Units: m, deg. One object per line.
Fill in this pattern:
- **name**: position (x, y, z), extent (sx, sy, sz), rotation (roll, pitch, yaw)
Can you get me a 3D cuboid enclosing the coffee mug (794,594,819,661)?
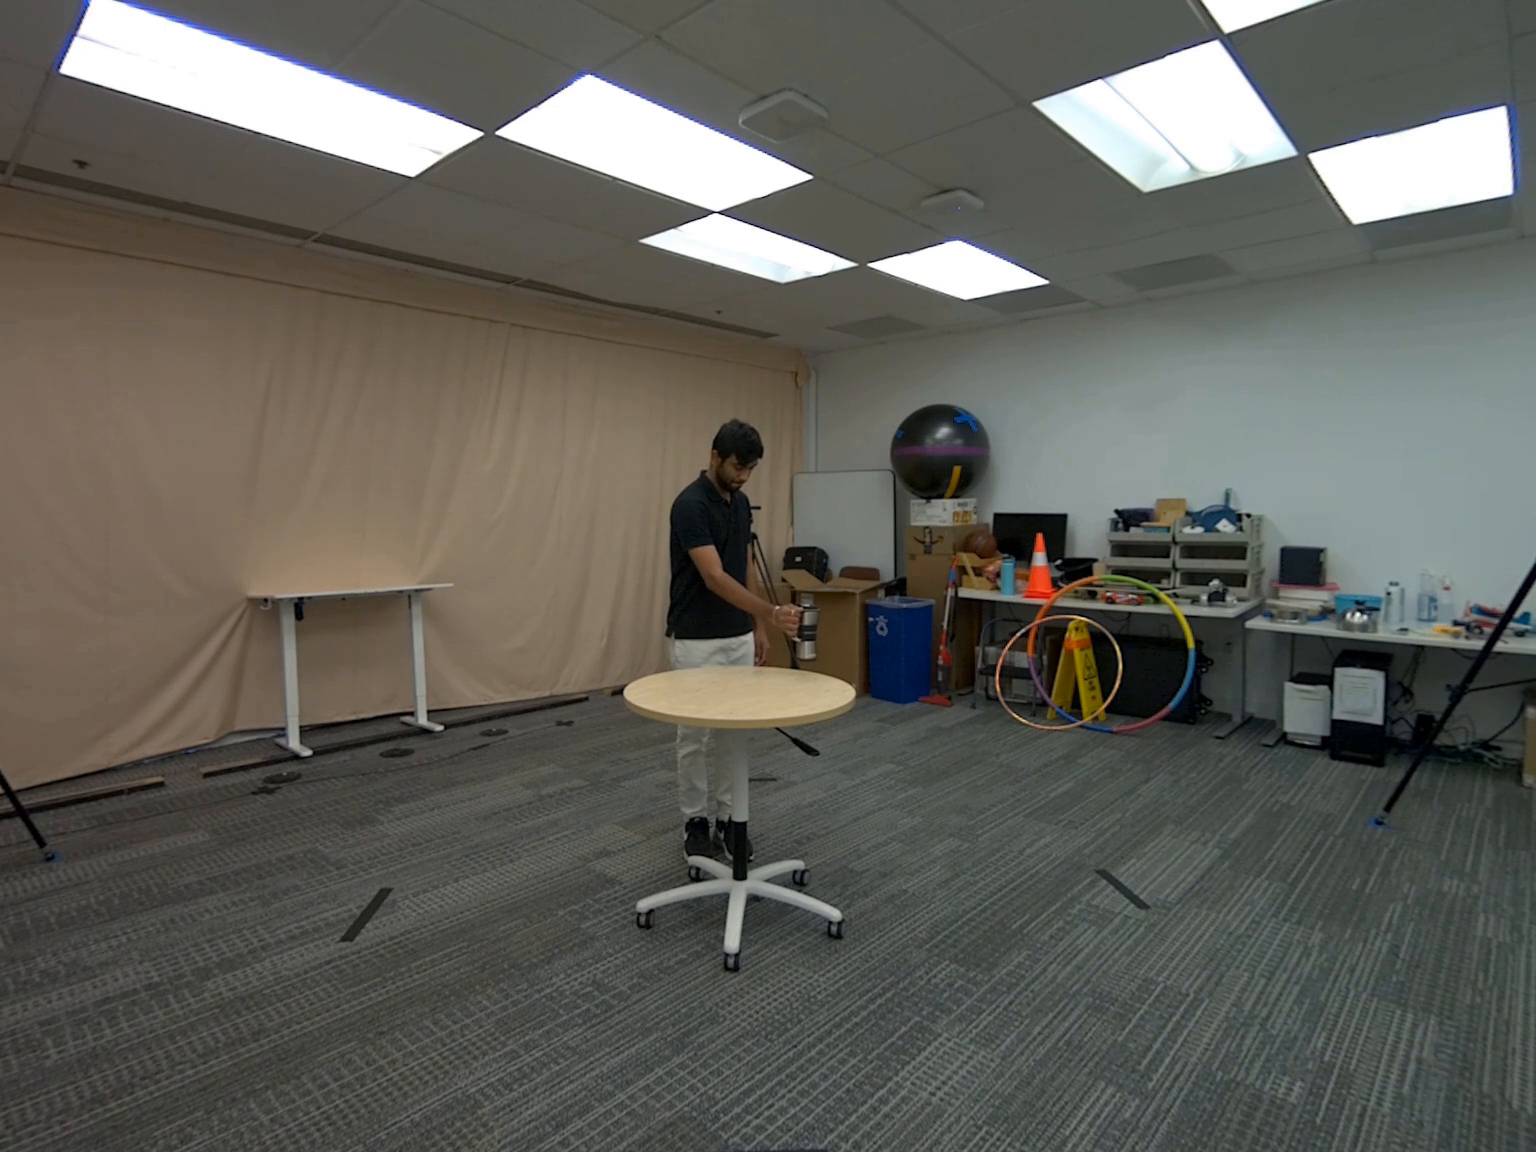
- **coffee mug**: position (0.118, 0.207, 3.025), extent (0.125, 0.202, 0.086), rotation (5, 10, 29)
